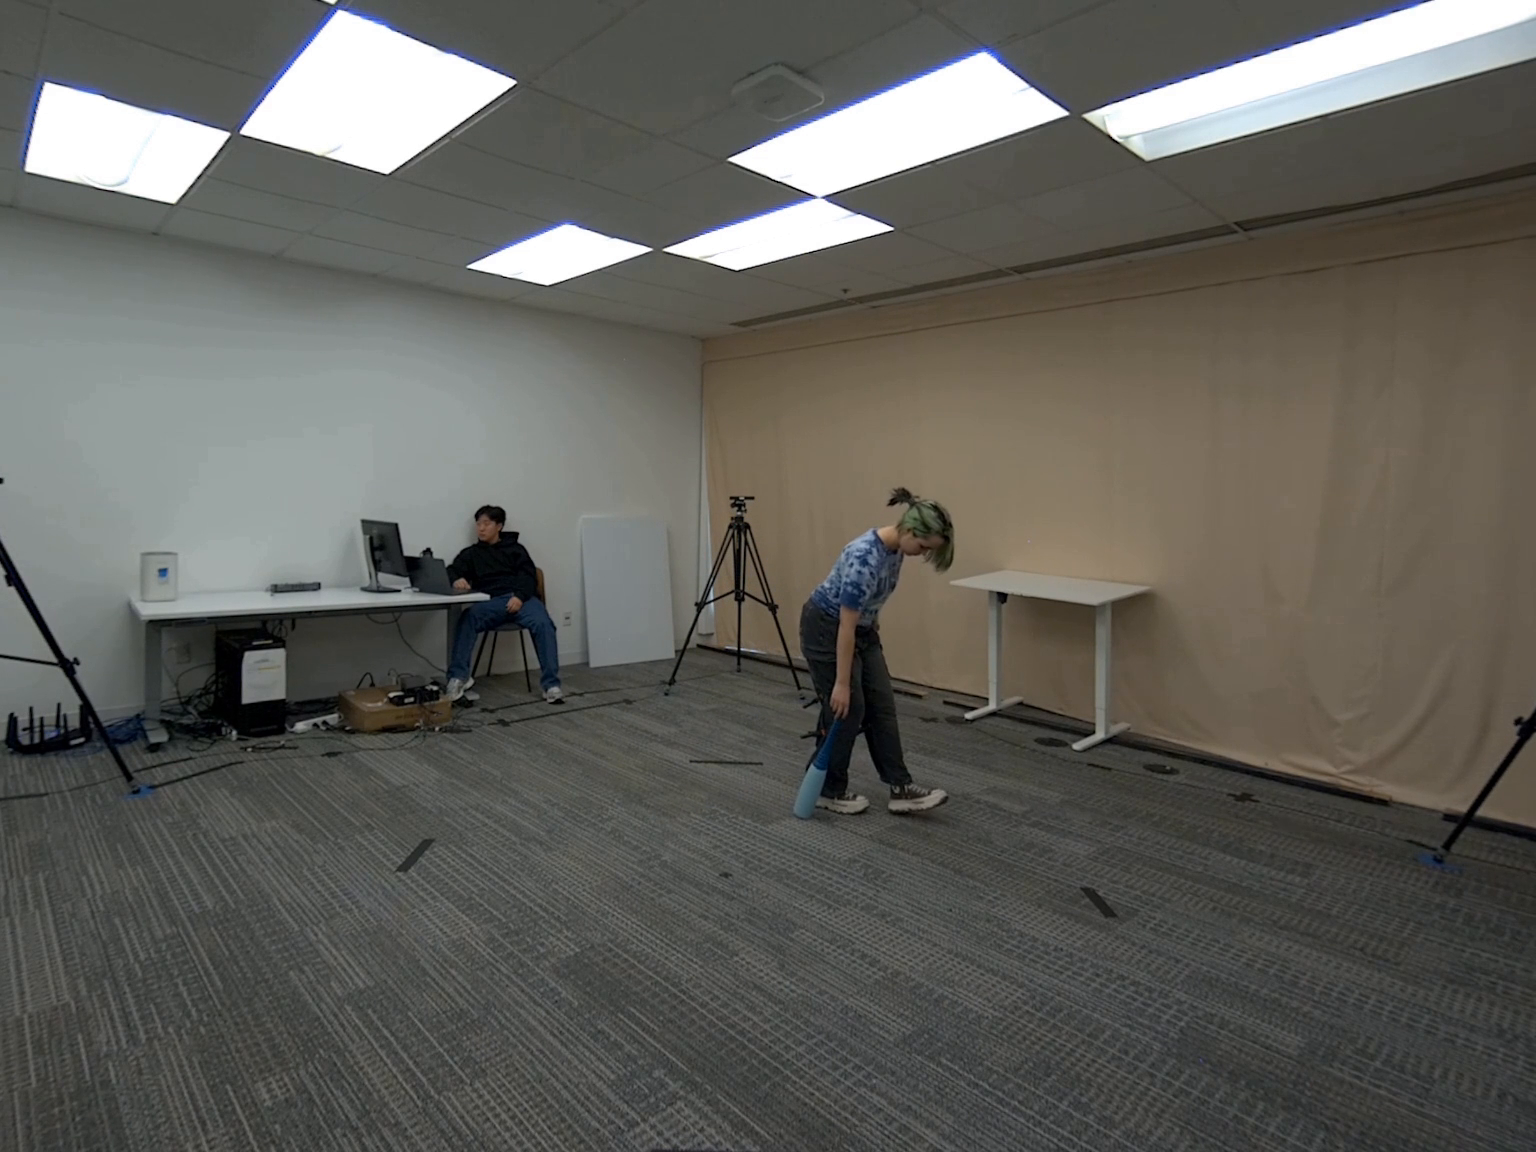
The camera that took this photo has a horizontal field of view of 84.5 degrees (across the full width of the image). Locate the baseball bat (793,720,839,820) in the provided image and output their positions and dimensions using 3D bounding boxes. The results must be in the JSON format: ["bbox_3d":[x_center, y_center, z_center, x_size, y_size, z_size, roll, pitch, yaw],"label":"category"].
[{"bbox_3d":[0.226,0.812,3.632,0.088,0.539,0.090,17,17,-7],"label":"baseball bat"}]
